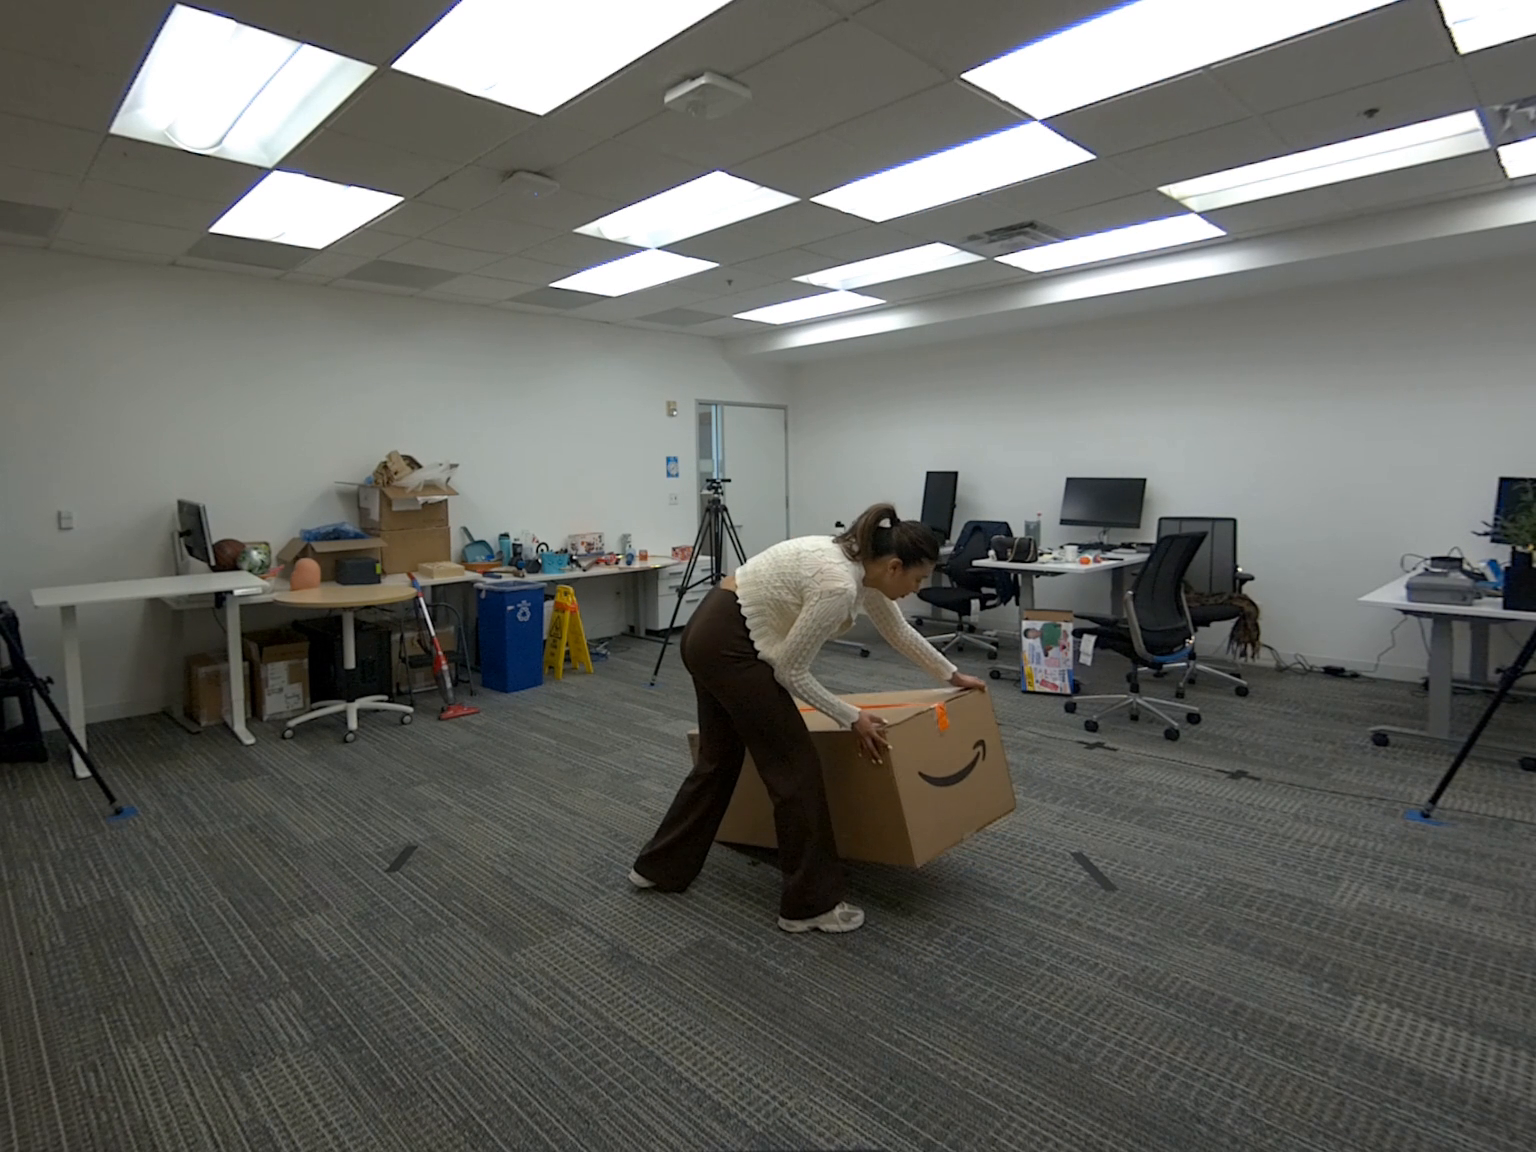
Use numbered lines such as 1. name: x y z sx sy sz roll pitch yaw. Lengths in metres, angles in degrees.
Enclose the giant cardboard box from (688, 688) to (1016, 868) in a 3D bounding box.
1. giant cardboard box: 0.267 0.705 3.135 0.564 0.428 1.047 -10 -2 -42
